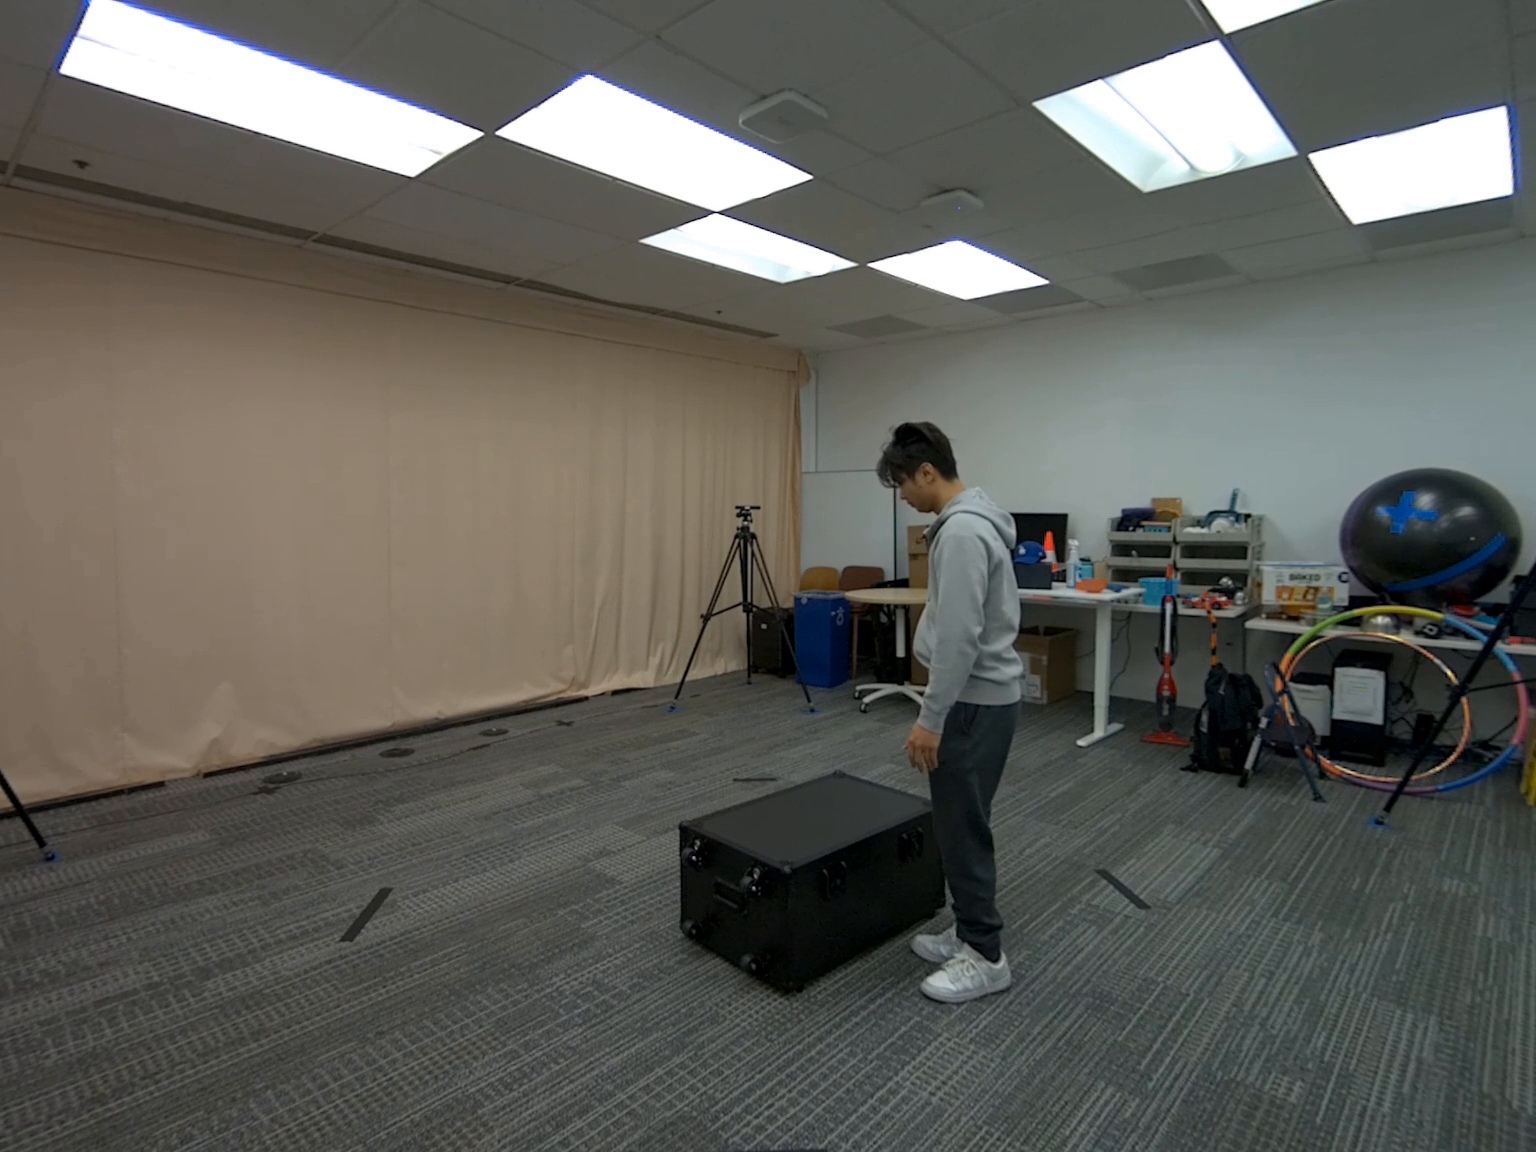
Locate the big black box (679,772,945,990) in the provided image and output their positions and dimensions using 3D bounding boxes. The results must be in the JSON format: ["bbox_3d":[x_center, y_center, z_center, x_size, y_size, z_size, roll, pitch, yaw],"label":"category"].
[{"bbox_3d":[0.139,0.971,2.767,0.835,0.395,0.539,-4,5,-43],"label":"big black box"}]
